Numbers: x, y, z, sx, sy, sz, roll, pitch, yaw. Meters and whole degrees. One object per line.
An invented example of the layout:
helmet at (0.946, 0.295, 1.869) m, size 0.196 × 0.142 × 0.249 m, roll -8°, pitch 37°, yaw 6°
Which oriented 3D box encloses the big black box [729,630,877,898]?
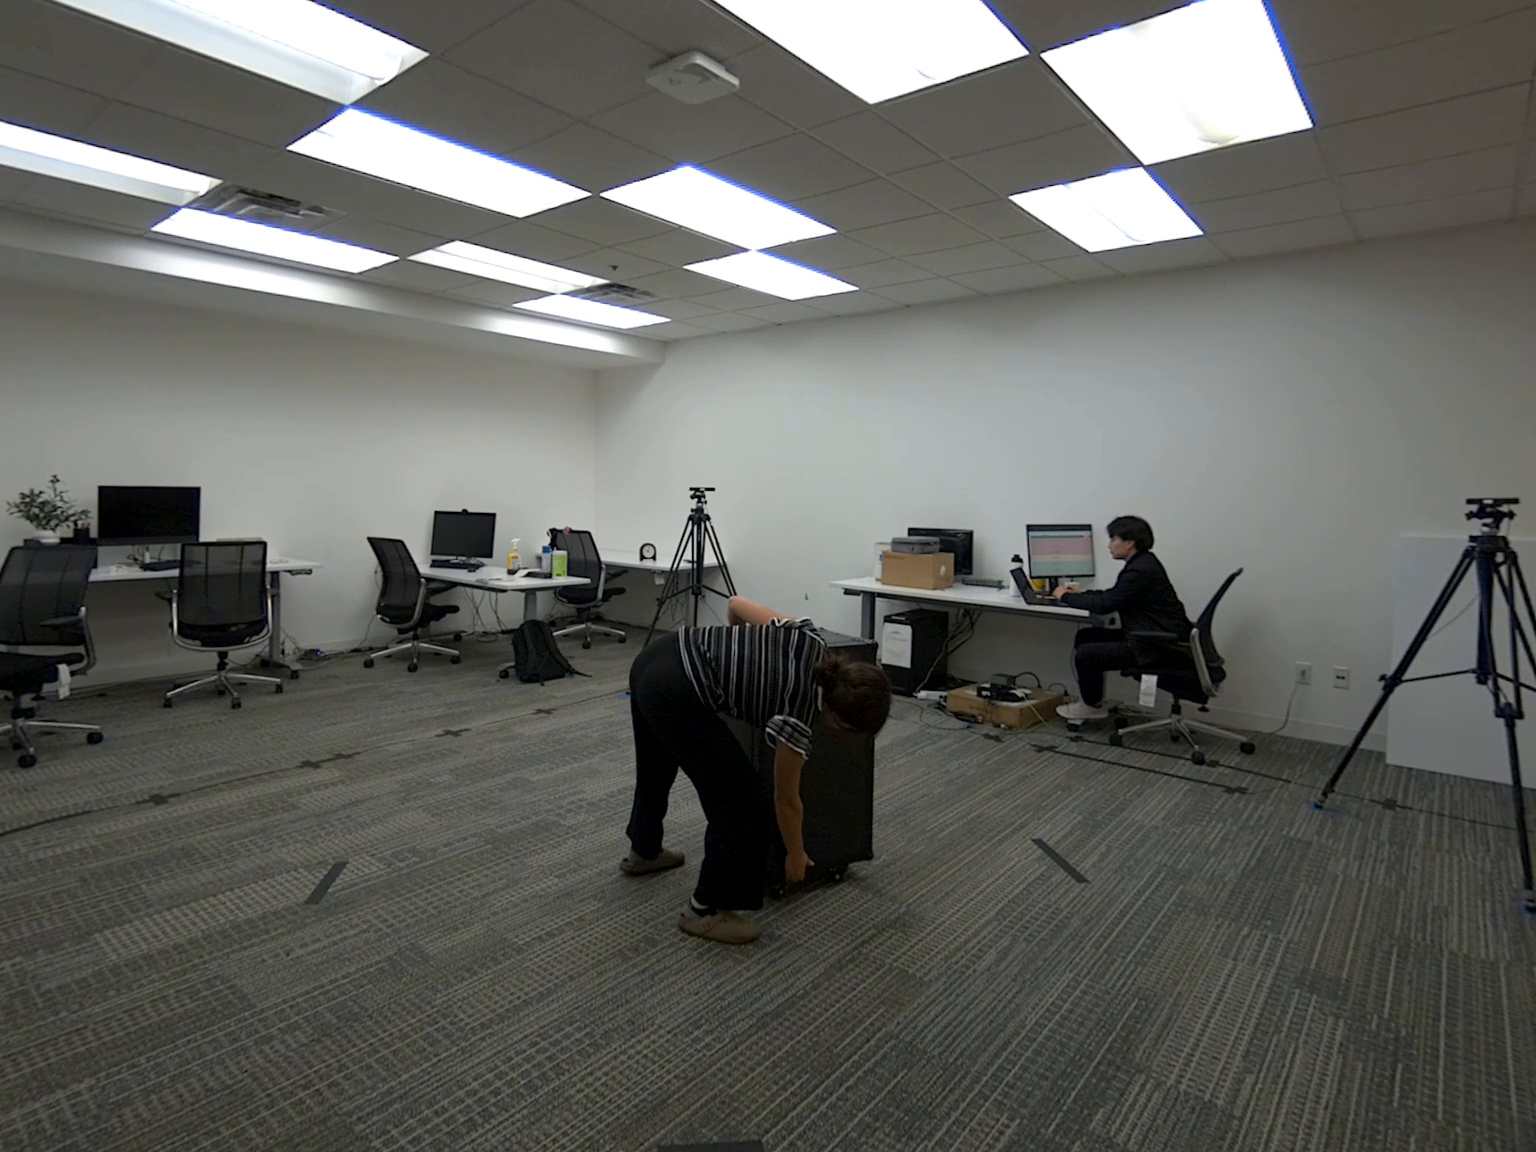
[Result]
big black box at (0.067, 0.642, 3.084) m, size 0.508 × 0.860 × 0.407 m, roll 0°, pitch 2°, yaw -28°
